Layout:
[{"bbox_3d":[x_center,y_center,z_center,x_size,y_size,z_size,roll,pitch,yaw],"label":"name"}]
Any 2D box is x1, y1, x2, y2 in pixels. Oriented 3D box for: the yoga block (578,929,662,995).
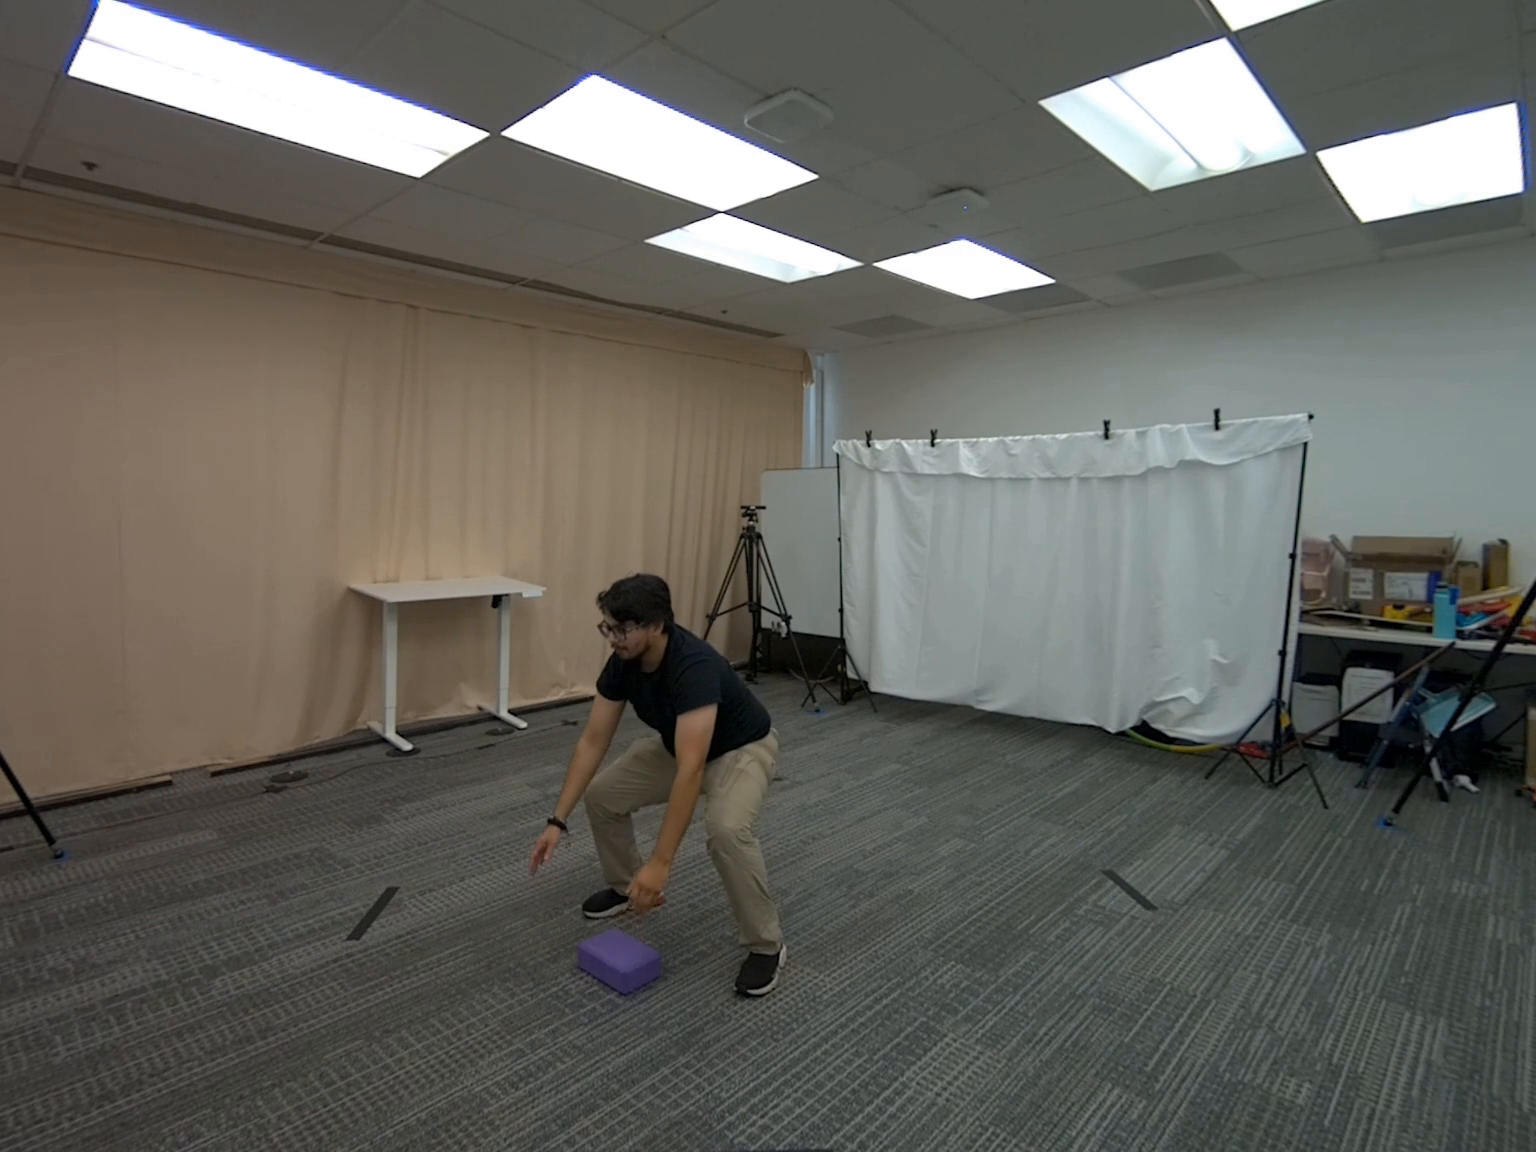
[{"bbox_3d":[-0.445,1.147,2.510,0.237,0.076,0.144,5,6,43],"label":"yoga block"}]
